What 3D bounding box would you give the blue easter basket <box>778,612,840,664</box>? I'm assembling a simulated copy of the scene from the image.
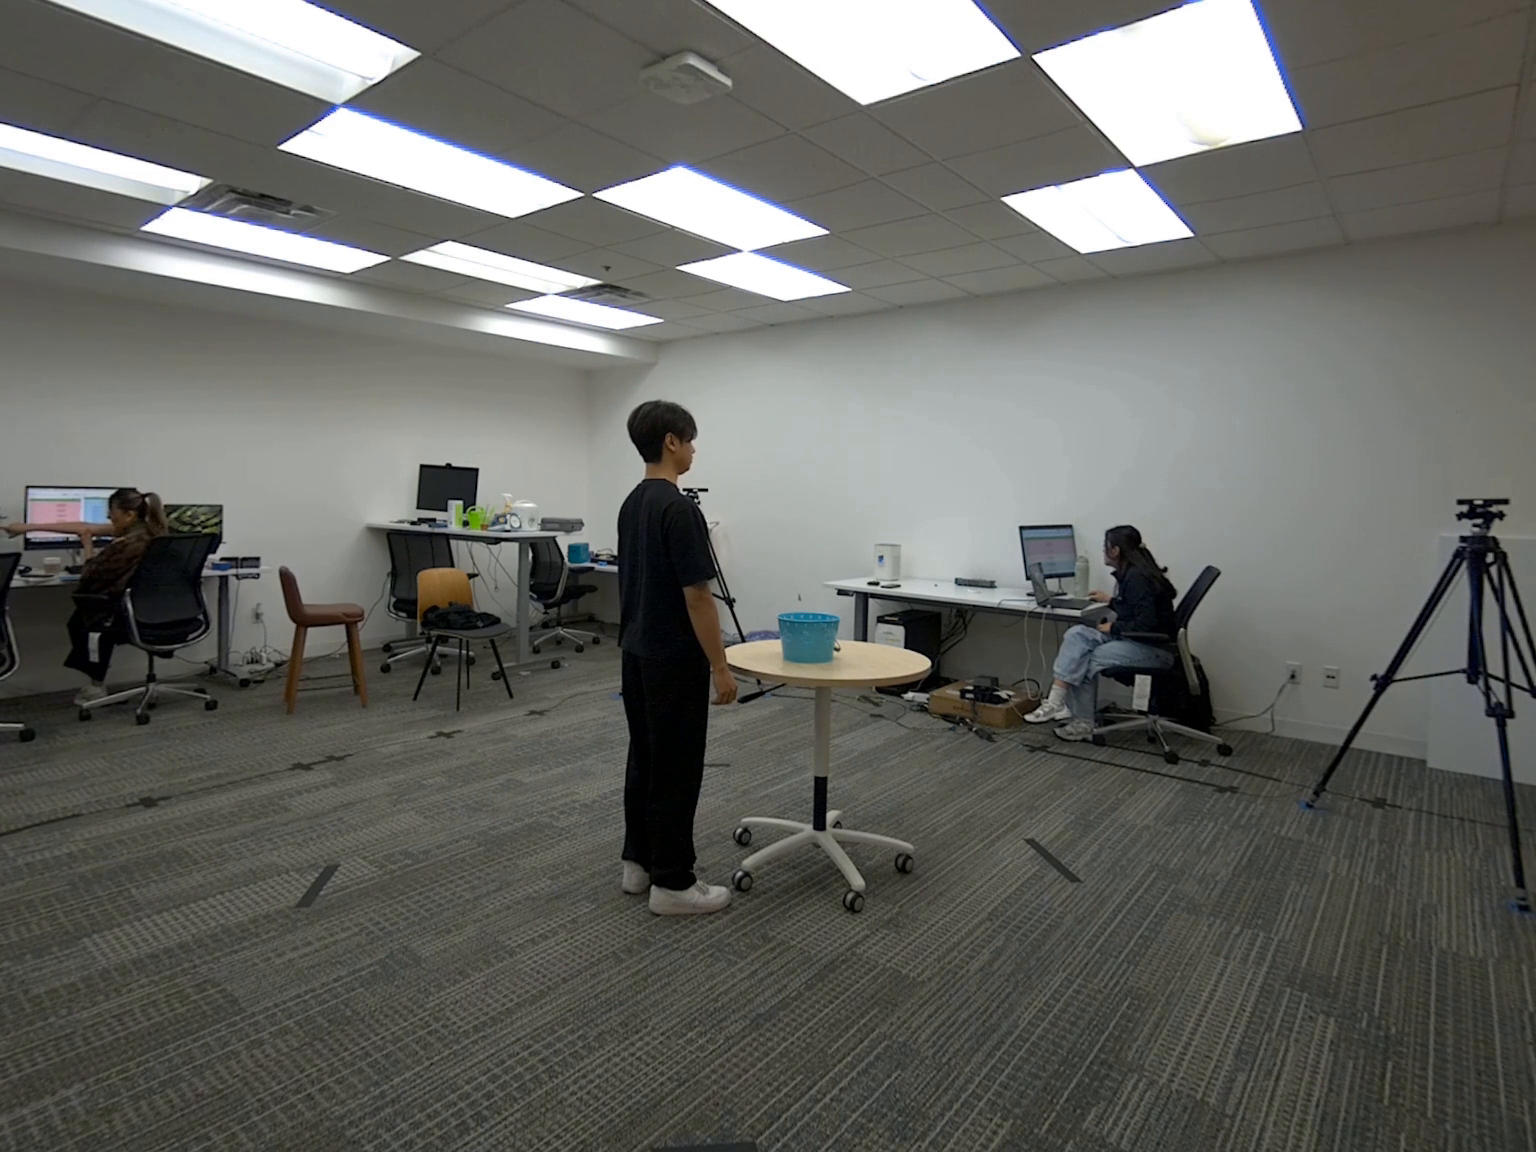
[{"bbox_3d":[0.139,0.226,3.090,0.243,0.155,0.244,1,4,-2],"label":"blue easter basket"}]
